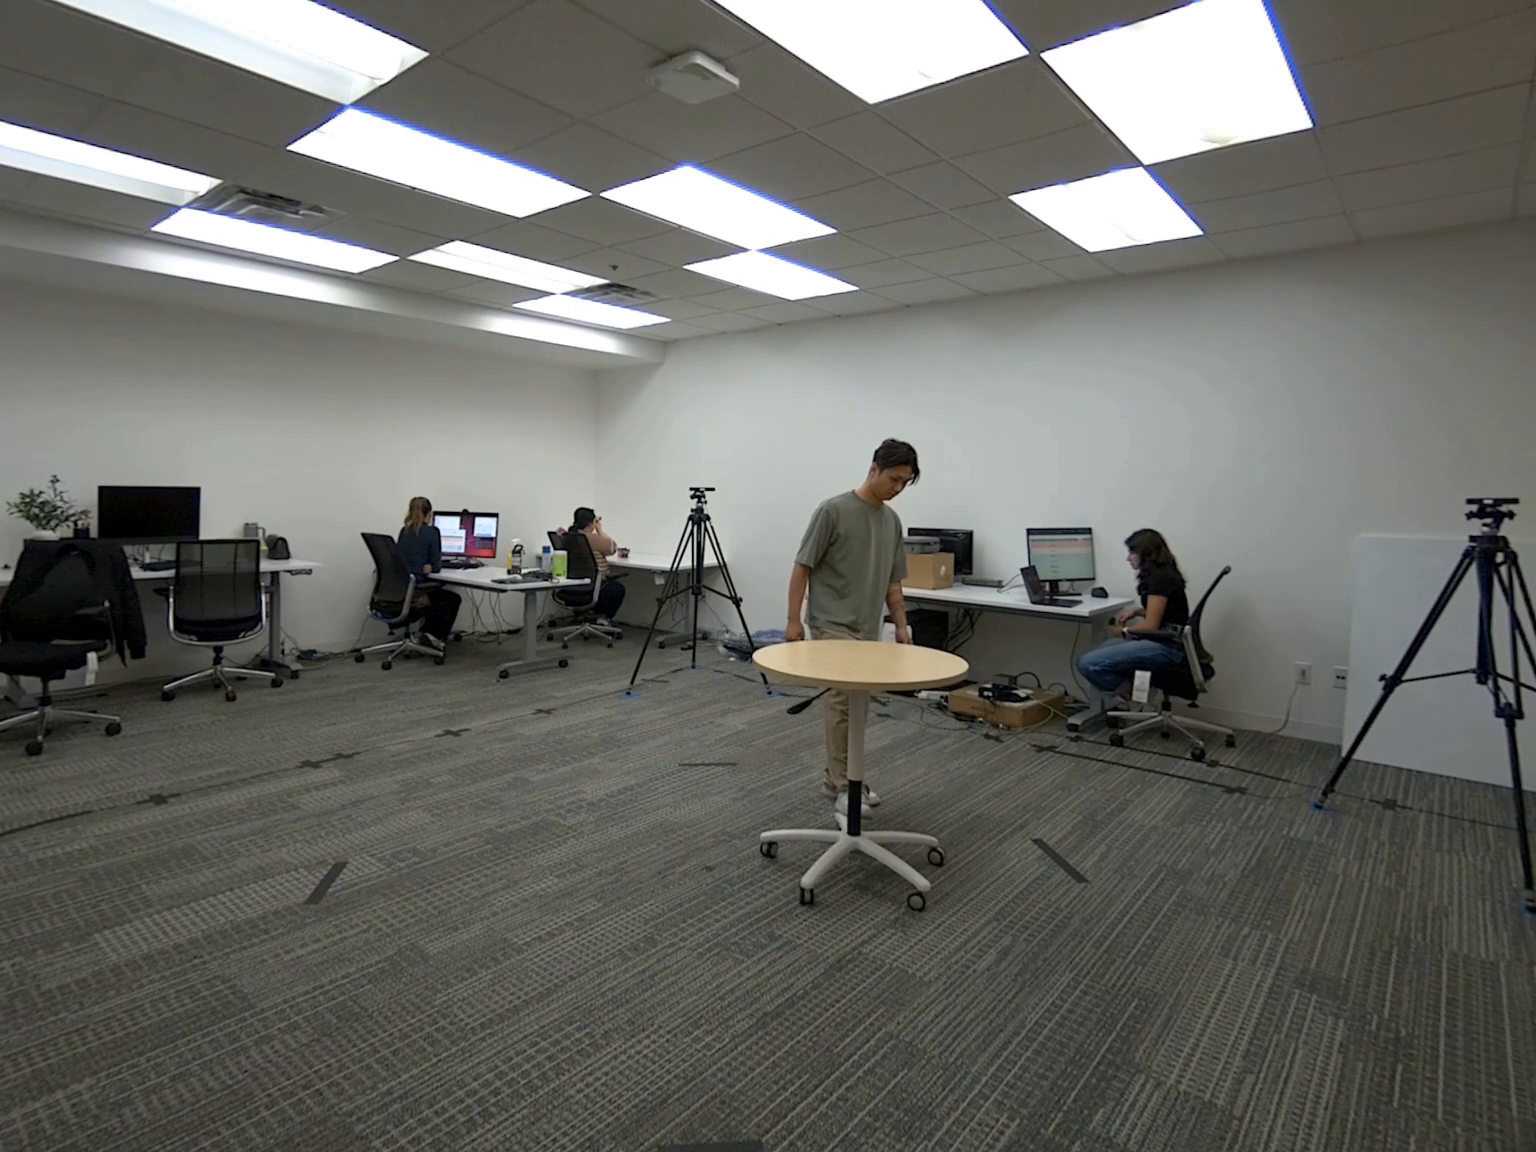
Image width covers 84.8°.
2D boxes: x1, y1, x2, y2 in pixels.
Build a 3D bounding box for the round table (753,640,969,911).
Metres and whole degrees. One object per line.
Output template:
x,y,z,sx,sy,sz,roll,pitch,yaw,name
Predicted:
0.297,0.686,3.081,0.784,0.784,0.789,1,4,-2,round table
